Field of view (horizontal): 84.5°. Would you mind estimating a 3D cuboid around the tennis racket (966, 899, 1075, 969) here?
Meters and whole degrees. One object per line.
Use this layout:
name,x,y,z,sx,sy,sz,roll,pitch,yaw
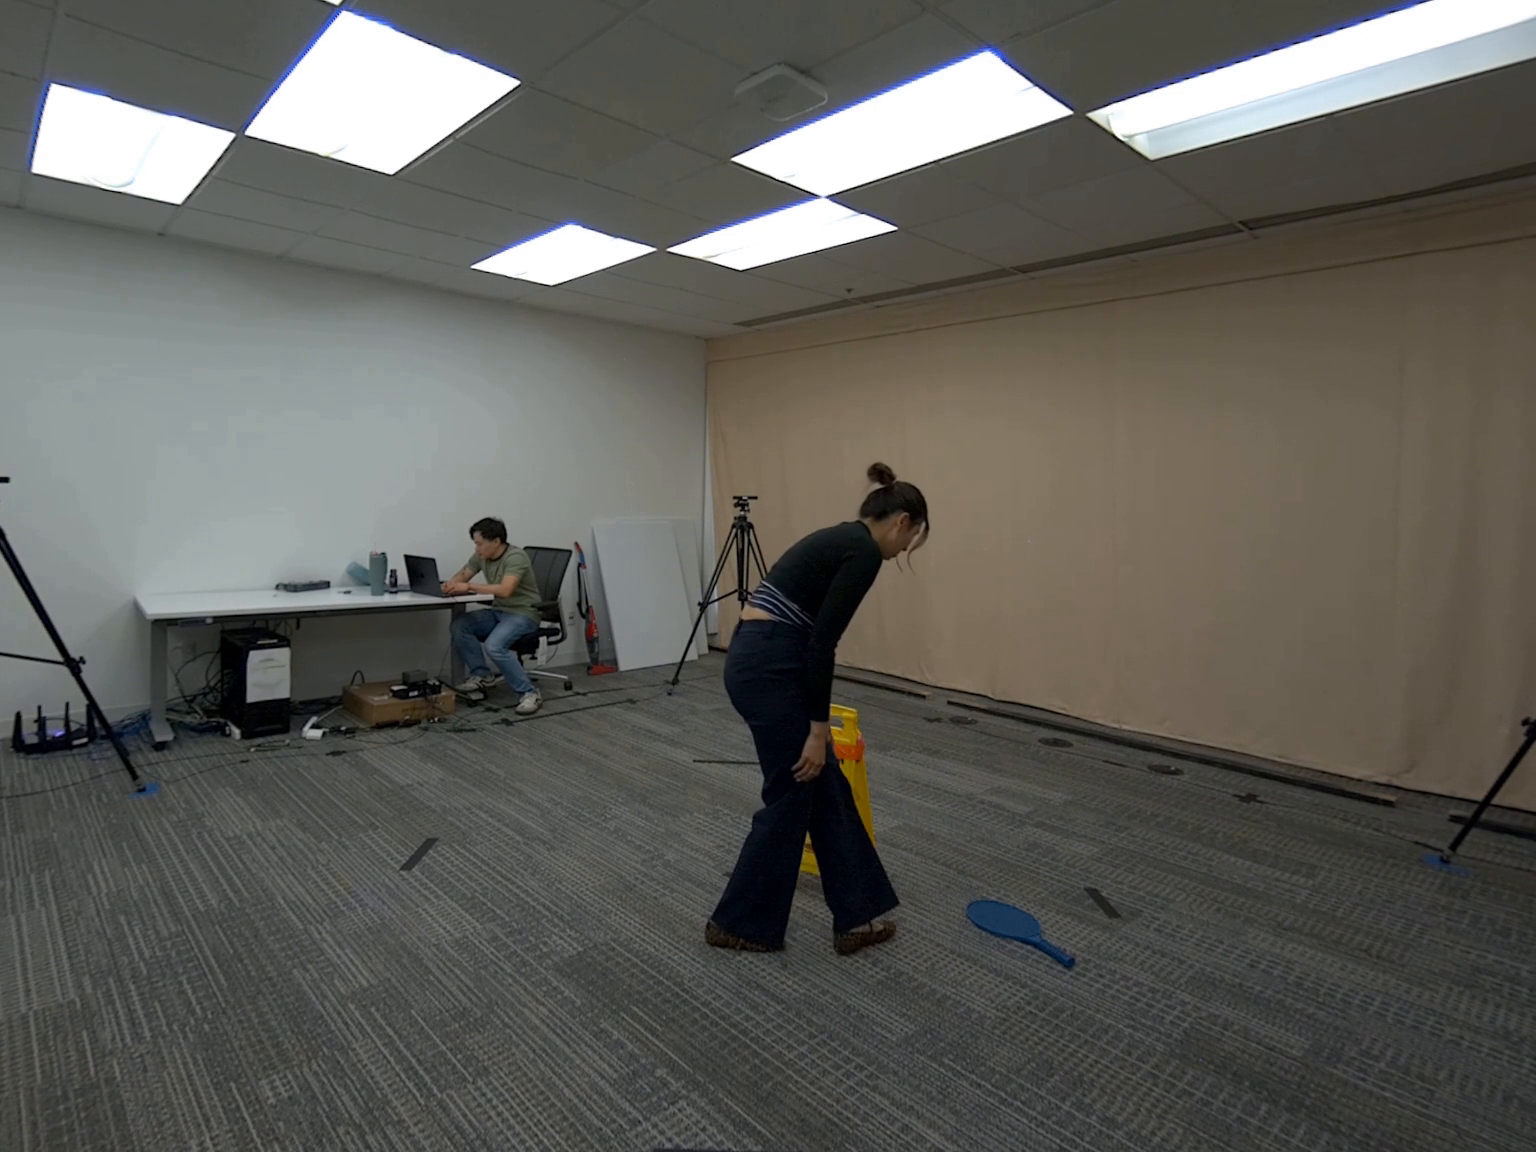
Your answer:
tennis racket,0.807,1.146,2.735,0.210,0.032,0.441,-1,5,-24
